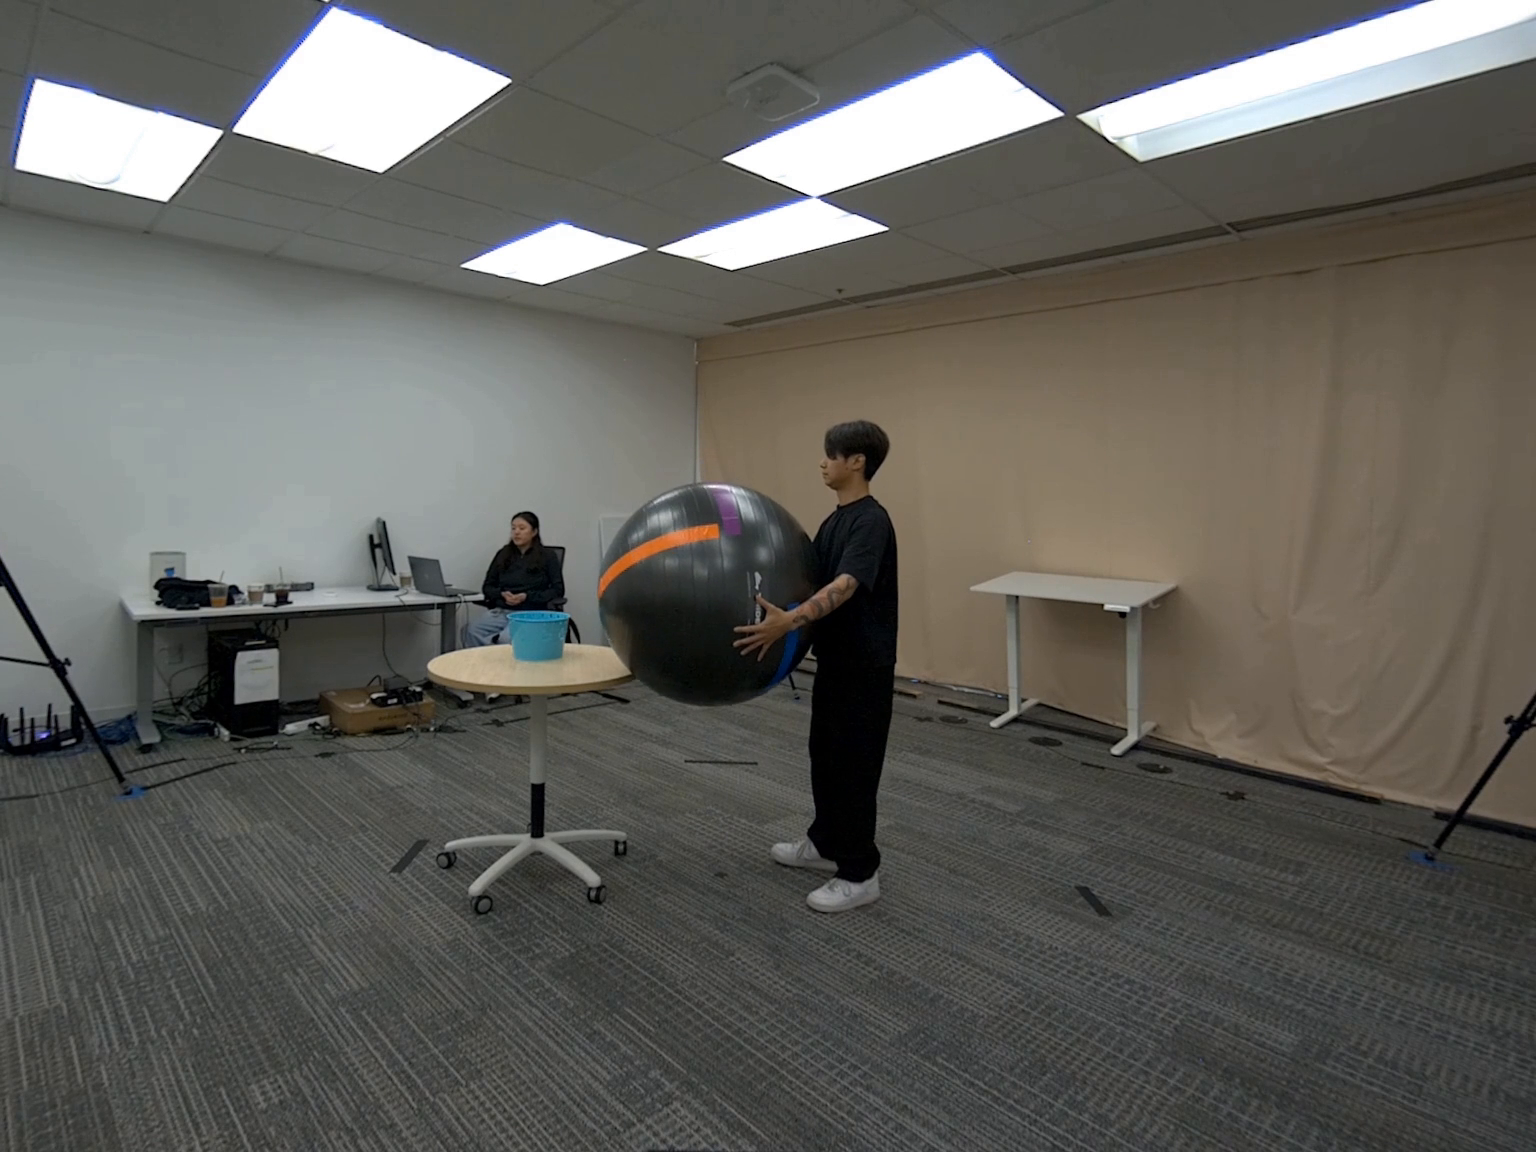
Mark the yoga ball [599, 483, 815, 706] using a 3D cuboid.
[{"bbox_3d":[-0.207,0.064,2.860,0.757,0.756,0.761,1,4,-1],"label":"yoga ball"}]
